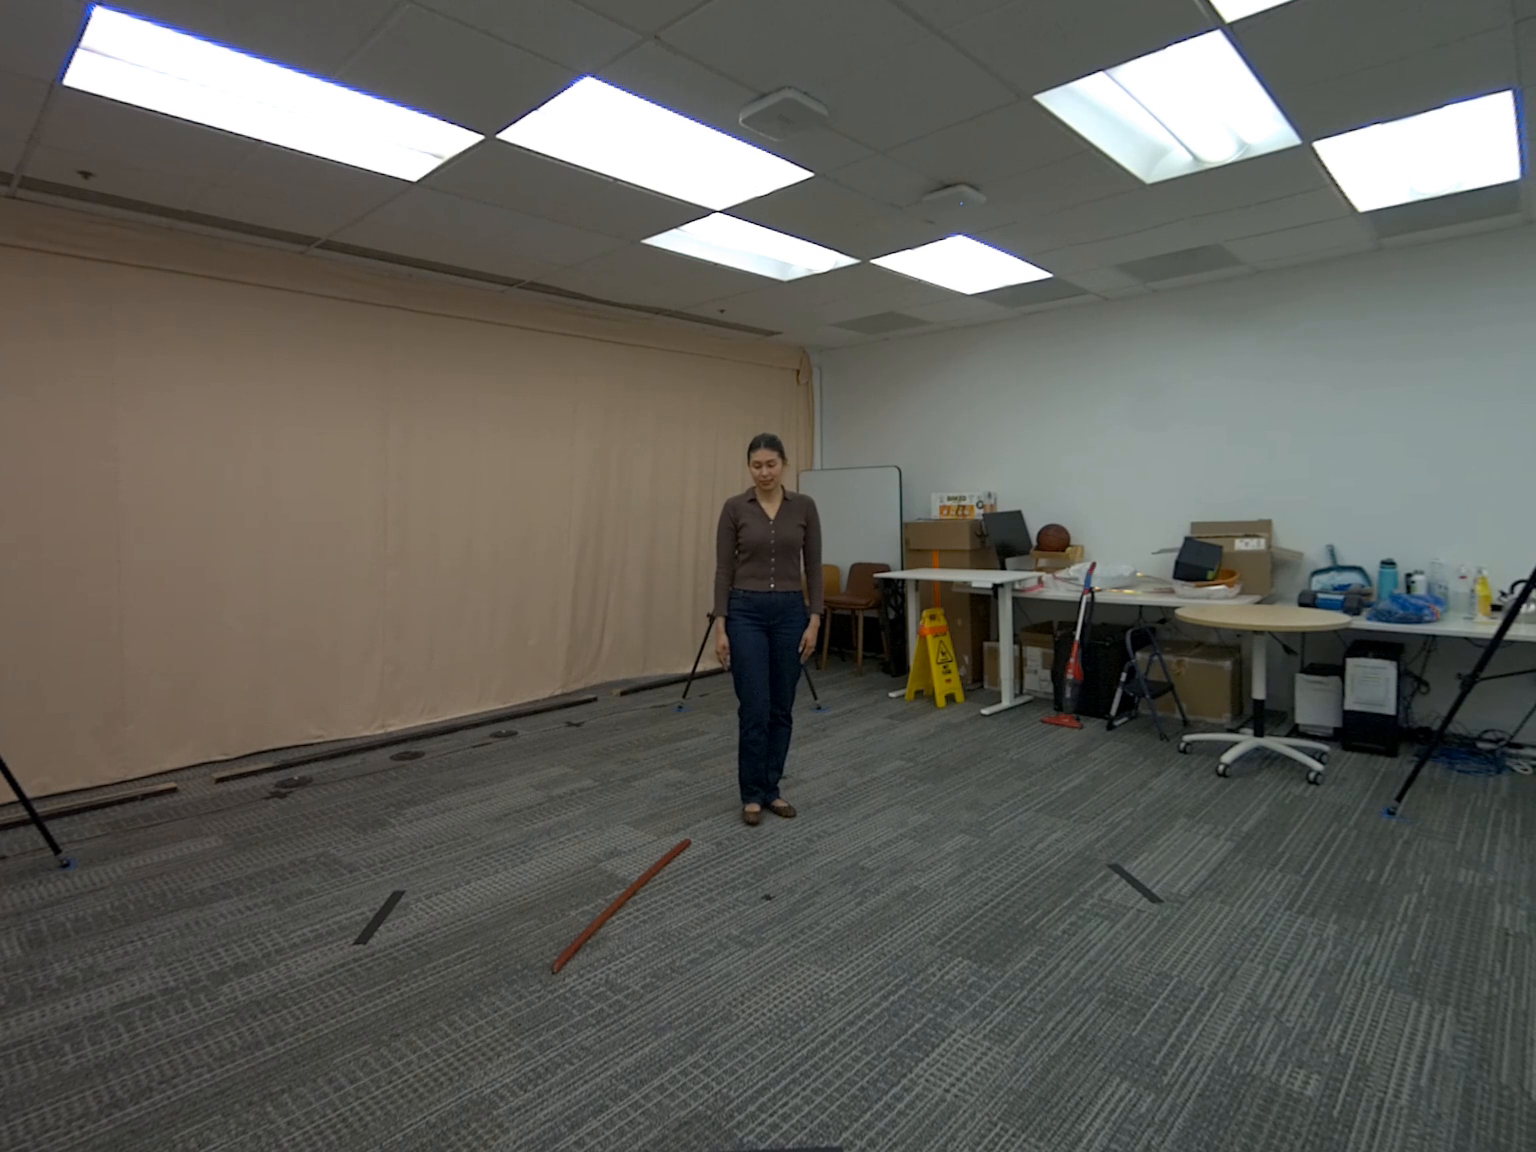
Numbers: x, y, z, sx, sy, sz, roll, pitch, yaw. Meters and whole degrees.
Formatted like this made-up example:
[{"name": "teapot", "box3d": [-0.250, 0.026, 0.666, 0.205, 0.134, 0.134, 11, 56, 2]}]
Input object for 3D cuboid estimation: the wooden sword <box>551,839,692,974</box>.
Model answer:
[{"name": "wooden sword", "box3d": [-0.492, 1.125, 2.993, 0.052, 0.024, 1.006, 4, 7, 18]}]
